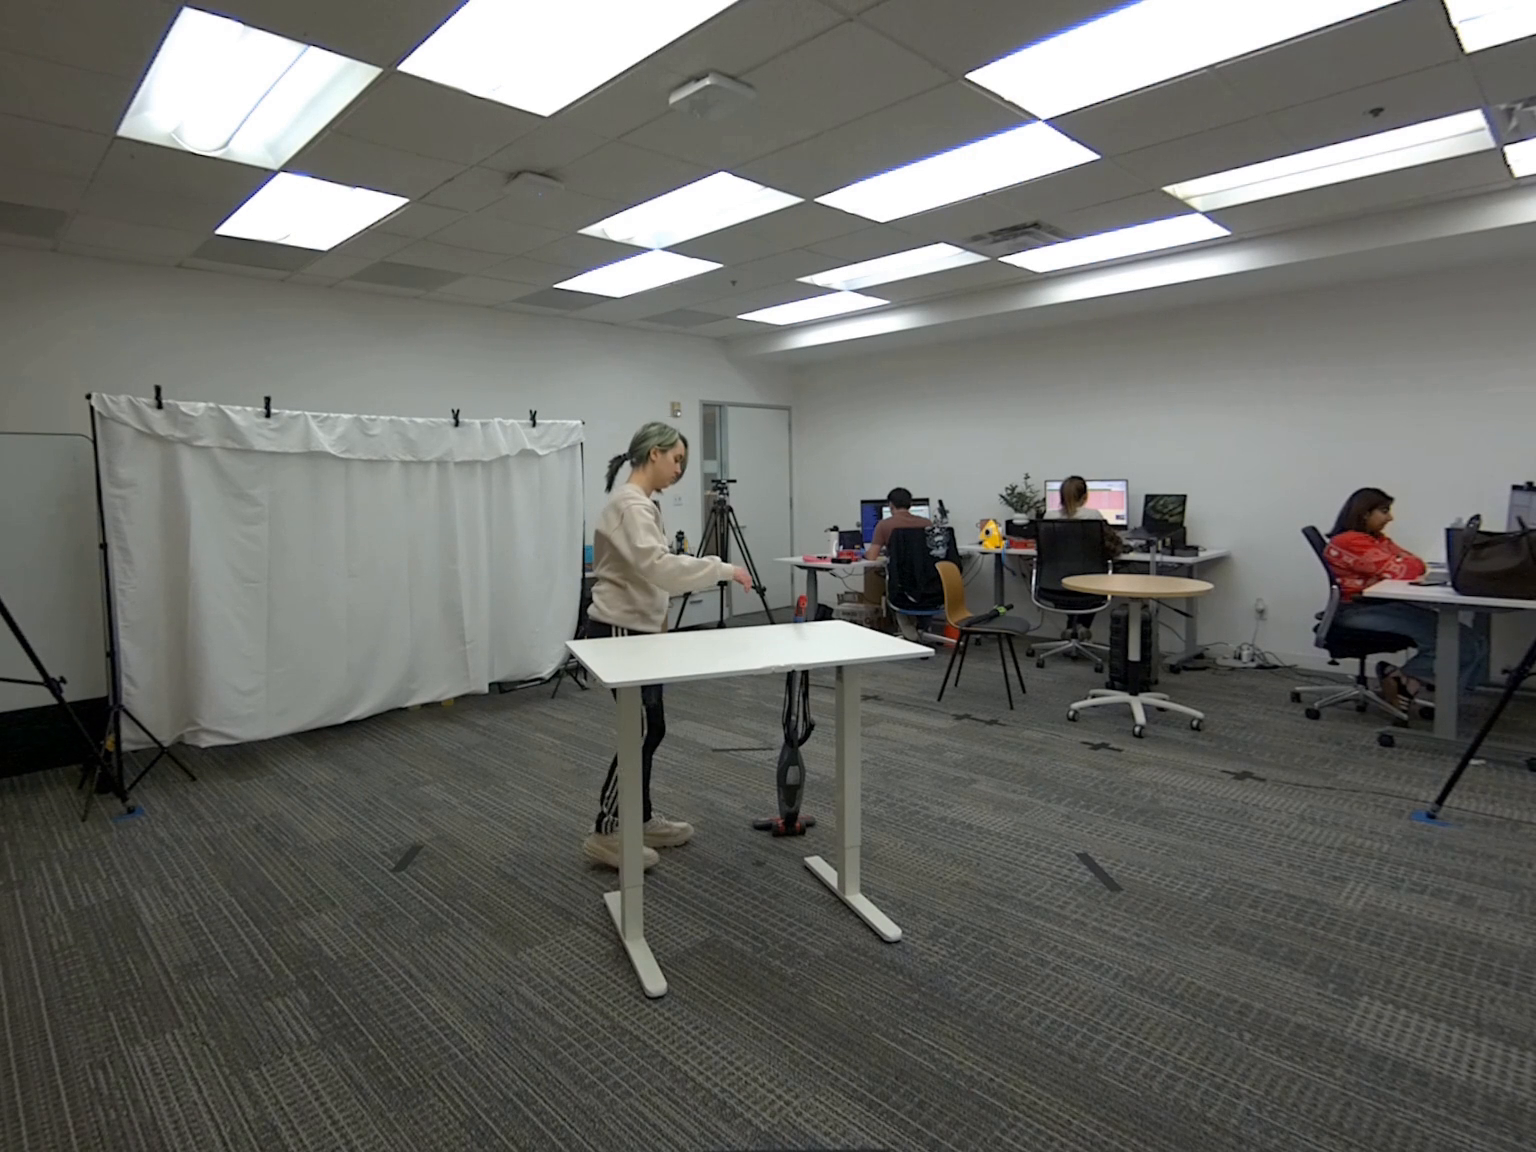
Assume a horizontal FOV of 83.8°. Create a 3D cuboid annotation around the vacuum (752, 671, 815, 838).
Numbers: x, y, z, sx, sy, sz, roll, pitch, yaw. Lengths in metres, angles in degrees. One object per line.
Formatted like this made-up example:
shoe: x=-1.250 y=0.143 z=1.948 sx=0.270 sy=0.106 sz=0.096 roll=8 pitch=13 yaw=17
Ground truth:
vacuum: x=0.096 y=0.542 z=3.195 sx=0.250 sy=1.028 sz=0.148 roll=-3 pitch=26 yaw=-11
